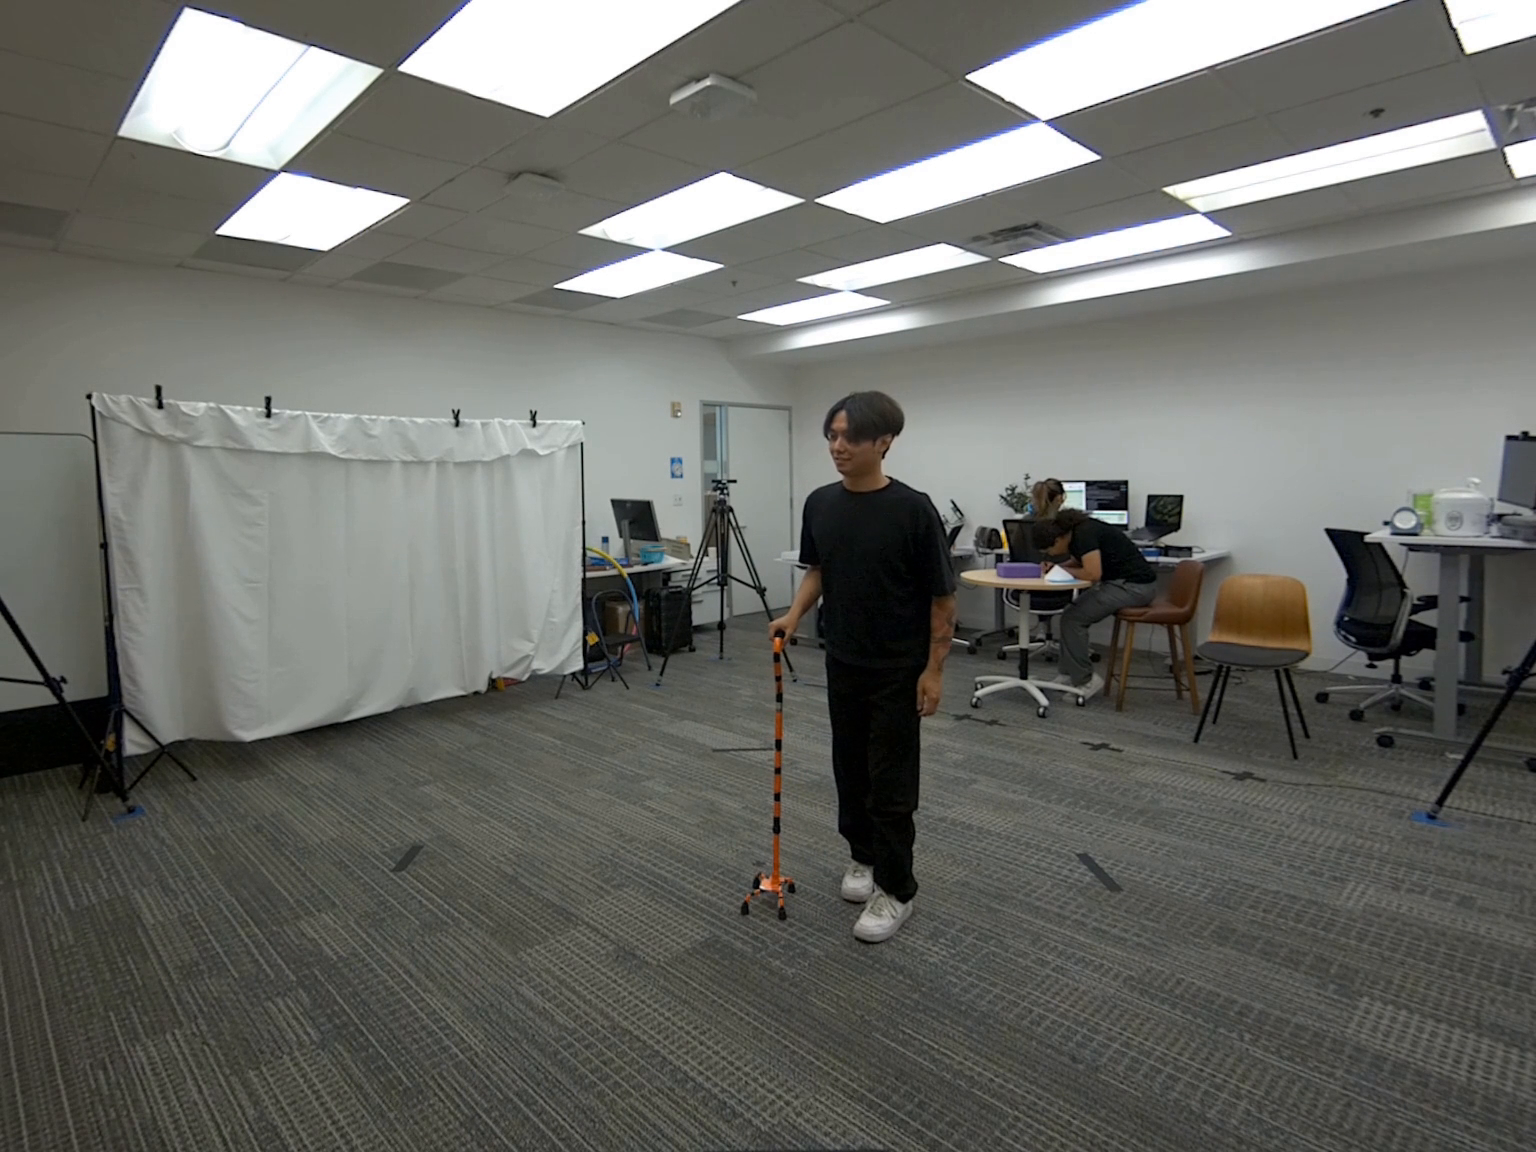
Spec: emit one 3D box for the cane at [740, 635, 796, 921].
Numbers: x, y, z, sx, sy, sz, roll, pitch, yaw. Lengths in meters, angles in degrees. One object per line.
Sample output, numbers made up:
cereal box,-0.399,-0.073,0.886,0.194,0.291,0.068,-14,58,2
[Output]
cane,0.012,0.635,2.786,0.153,0.903,0.205,0,5,11
